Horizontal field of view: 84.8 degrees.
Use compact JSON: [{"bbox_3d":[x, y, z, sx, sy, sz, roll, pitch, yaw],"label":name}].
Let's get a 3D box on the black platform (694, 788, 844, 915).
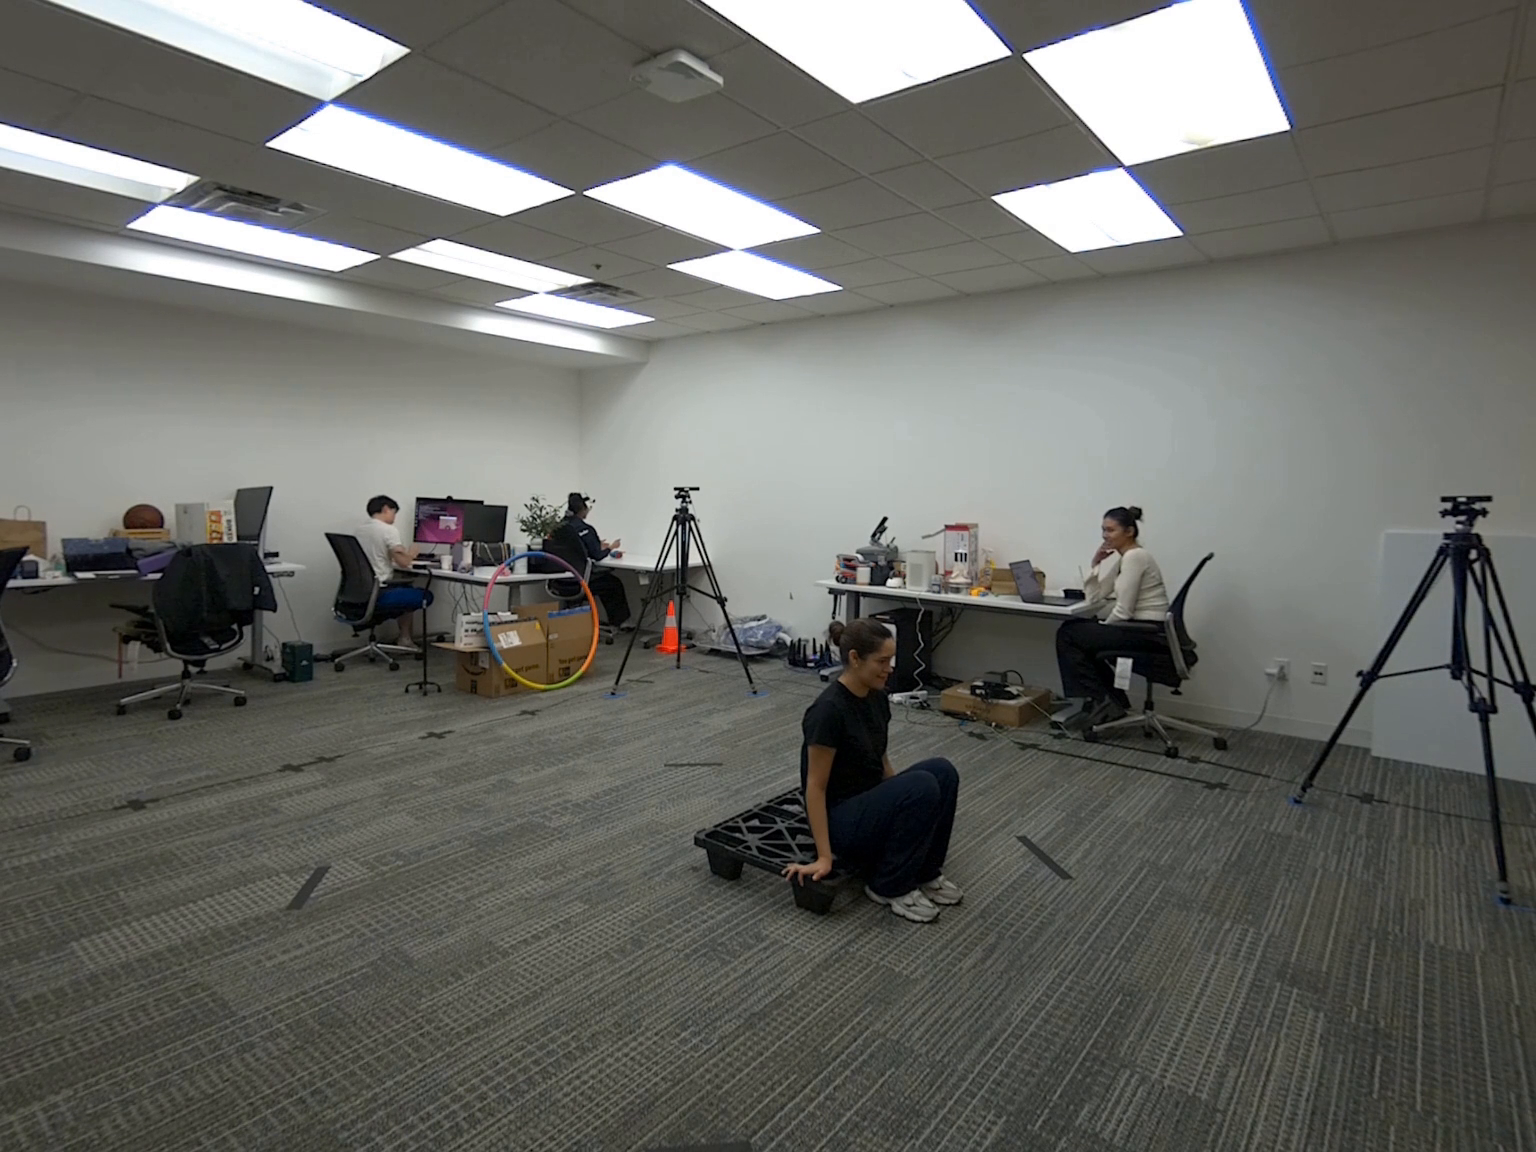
[{"bbox_3d":[0.203,0.995,3.212,0.625,0.143,0.782,4,6,38],"label":"black platform"}]
